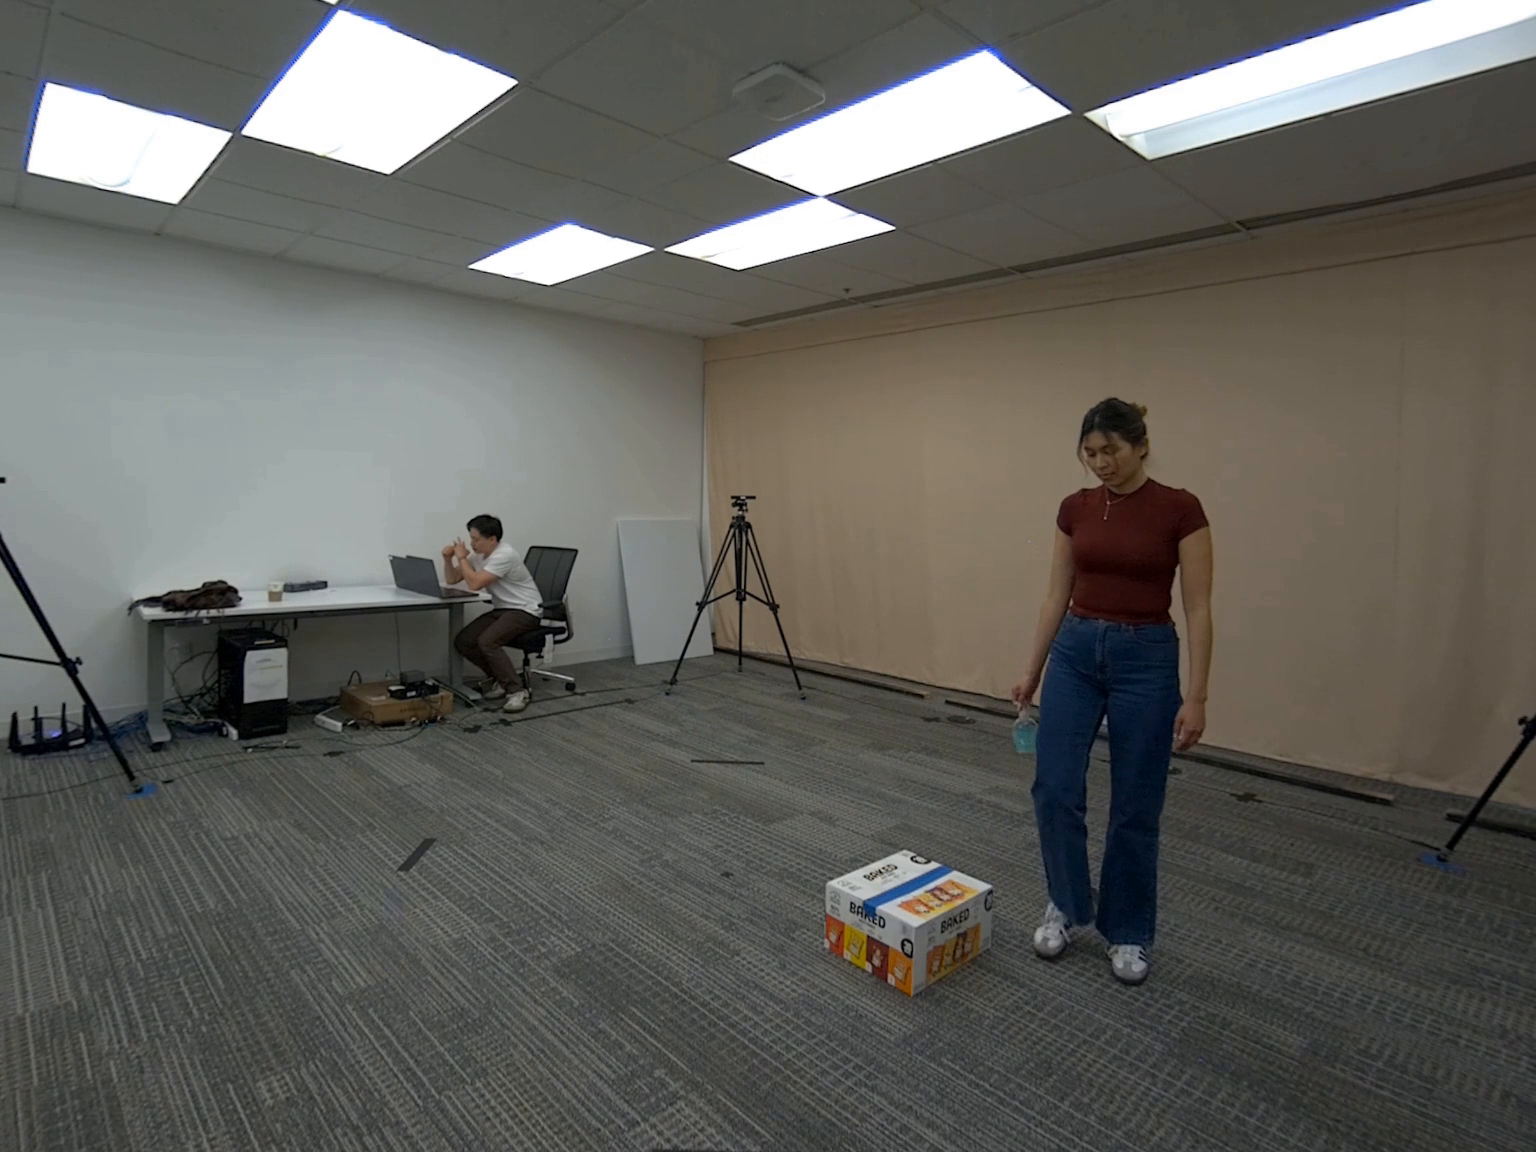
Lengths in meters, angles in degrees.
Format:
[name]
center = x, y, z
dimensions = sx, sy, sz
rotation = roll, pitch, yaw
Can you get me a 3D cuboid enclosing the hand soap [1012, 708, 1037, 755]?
[hand soap]
center = 0.825, 0.500, 2.785
dimensions = 0.085, 0.168, 0.043
rotation = 3, 1, 1
